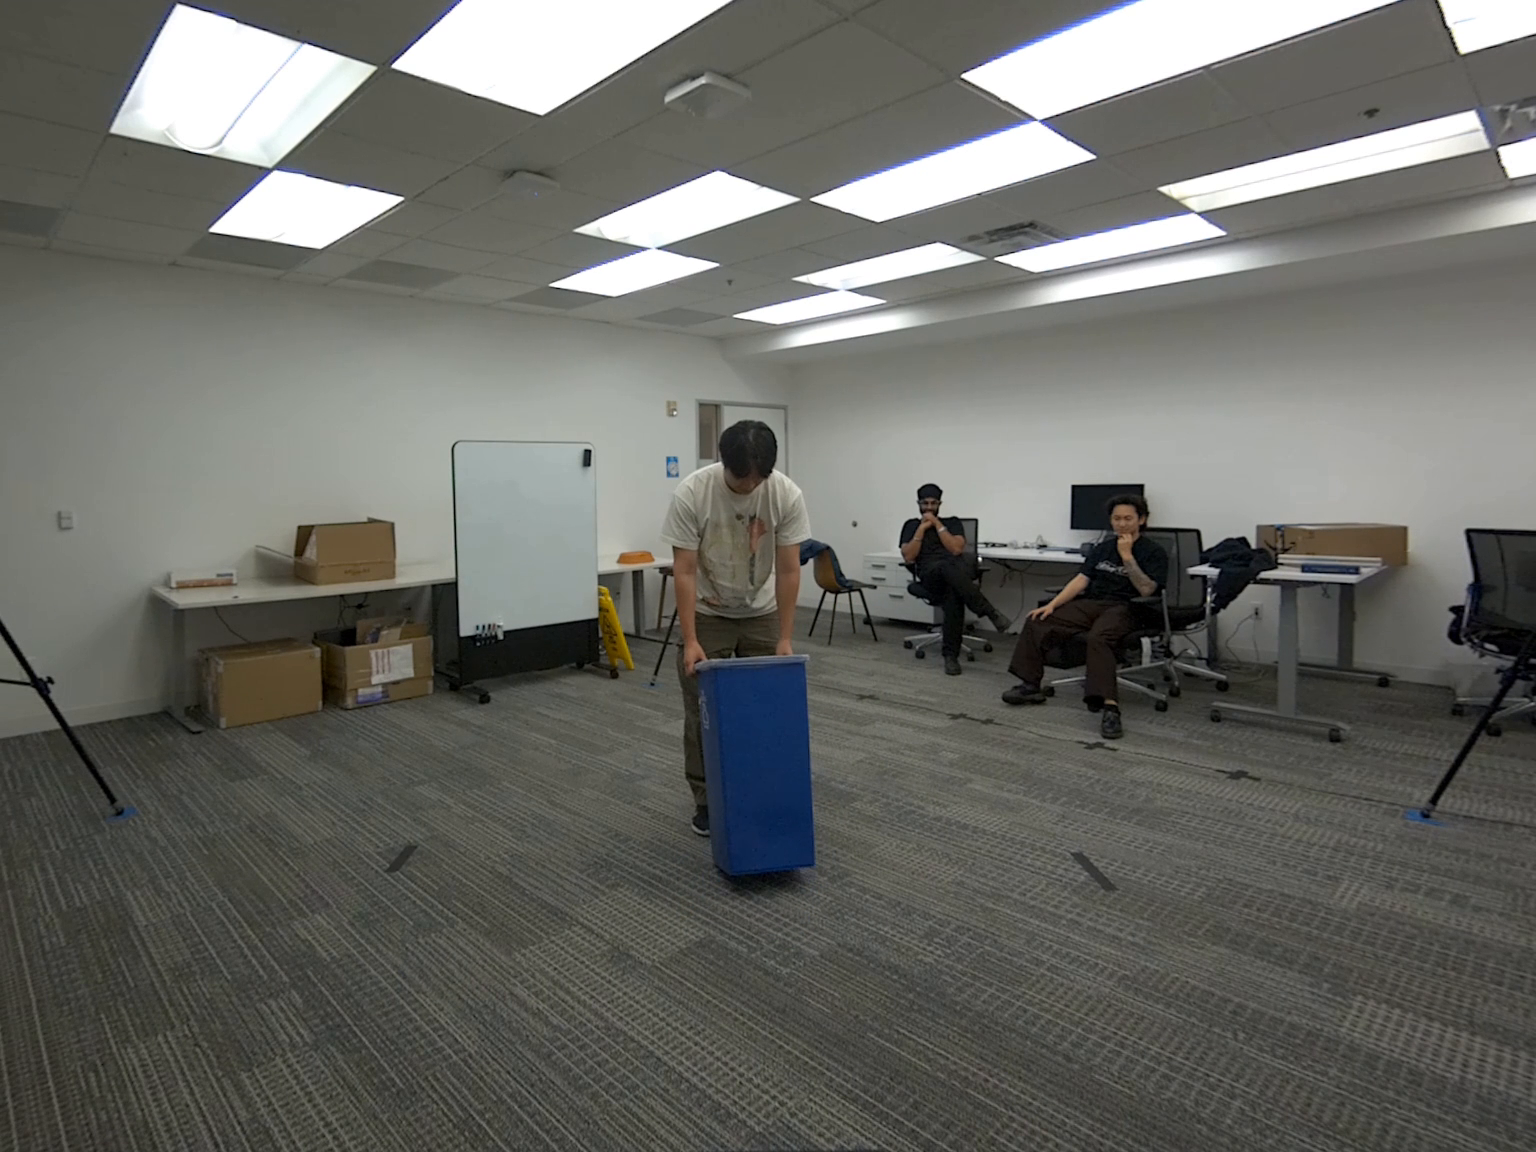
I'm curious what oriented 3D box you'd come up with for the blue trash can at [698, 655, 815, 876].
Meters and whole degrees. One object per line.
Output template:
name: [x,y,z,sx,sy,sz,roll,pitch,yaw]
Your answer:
blue trash can: [-0.046,0.669,3.069,0.373,0.722,0.374,-2,-12,-14]
